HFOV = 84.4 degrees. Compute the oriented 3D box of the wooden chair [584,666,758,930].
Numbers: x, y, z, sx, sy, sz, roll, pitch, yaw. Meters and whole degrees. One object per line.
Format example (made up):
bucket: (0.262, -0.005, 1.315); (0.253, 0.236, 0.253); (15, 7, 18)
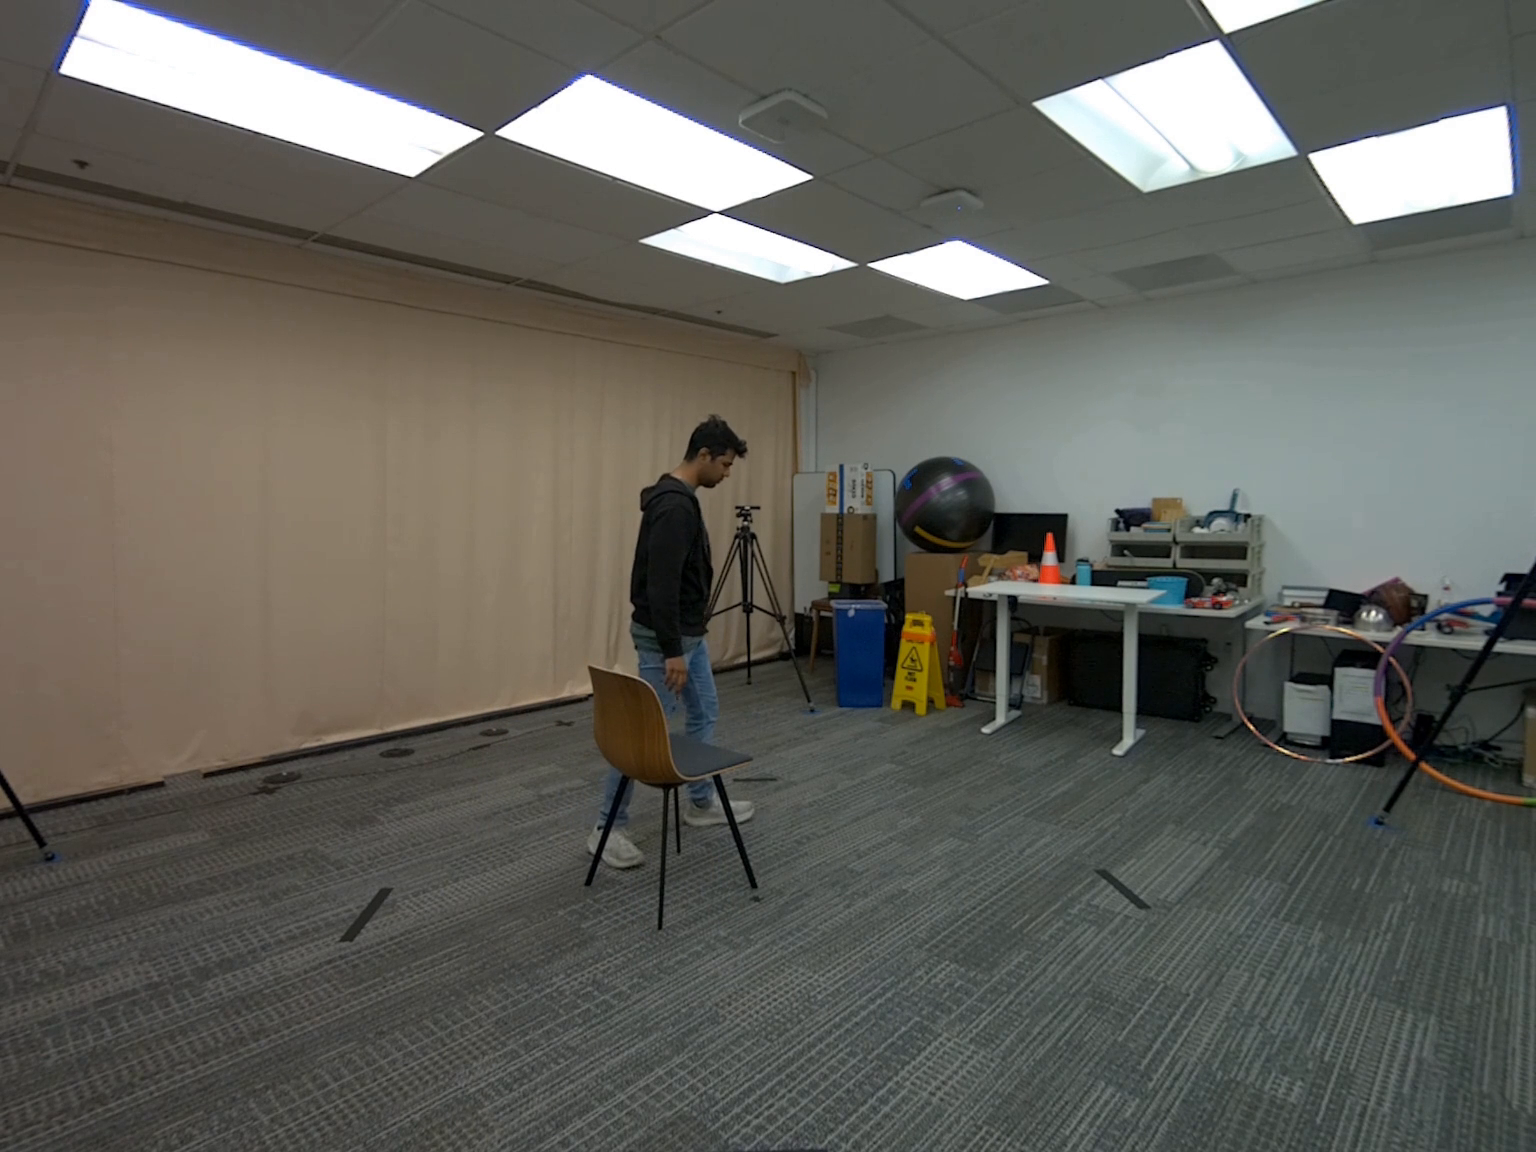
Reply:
wooden chair: (-0.346, 0.711, 3.056); (0.508, 0.874, 0.494); (-9, 8, -43)
